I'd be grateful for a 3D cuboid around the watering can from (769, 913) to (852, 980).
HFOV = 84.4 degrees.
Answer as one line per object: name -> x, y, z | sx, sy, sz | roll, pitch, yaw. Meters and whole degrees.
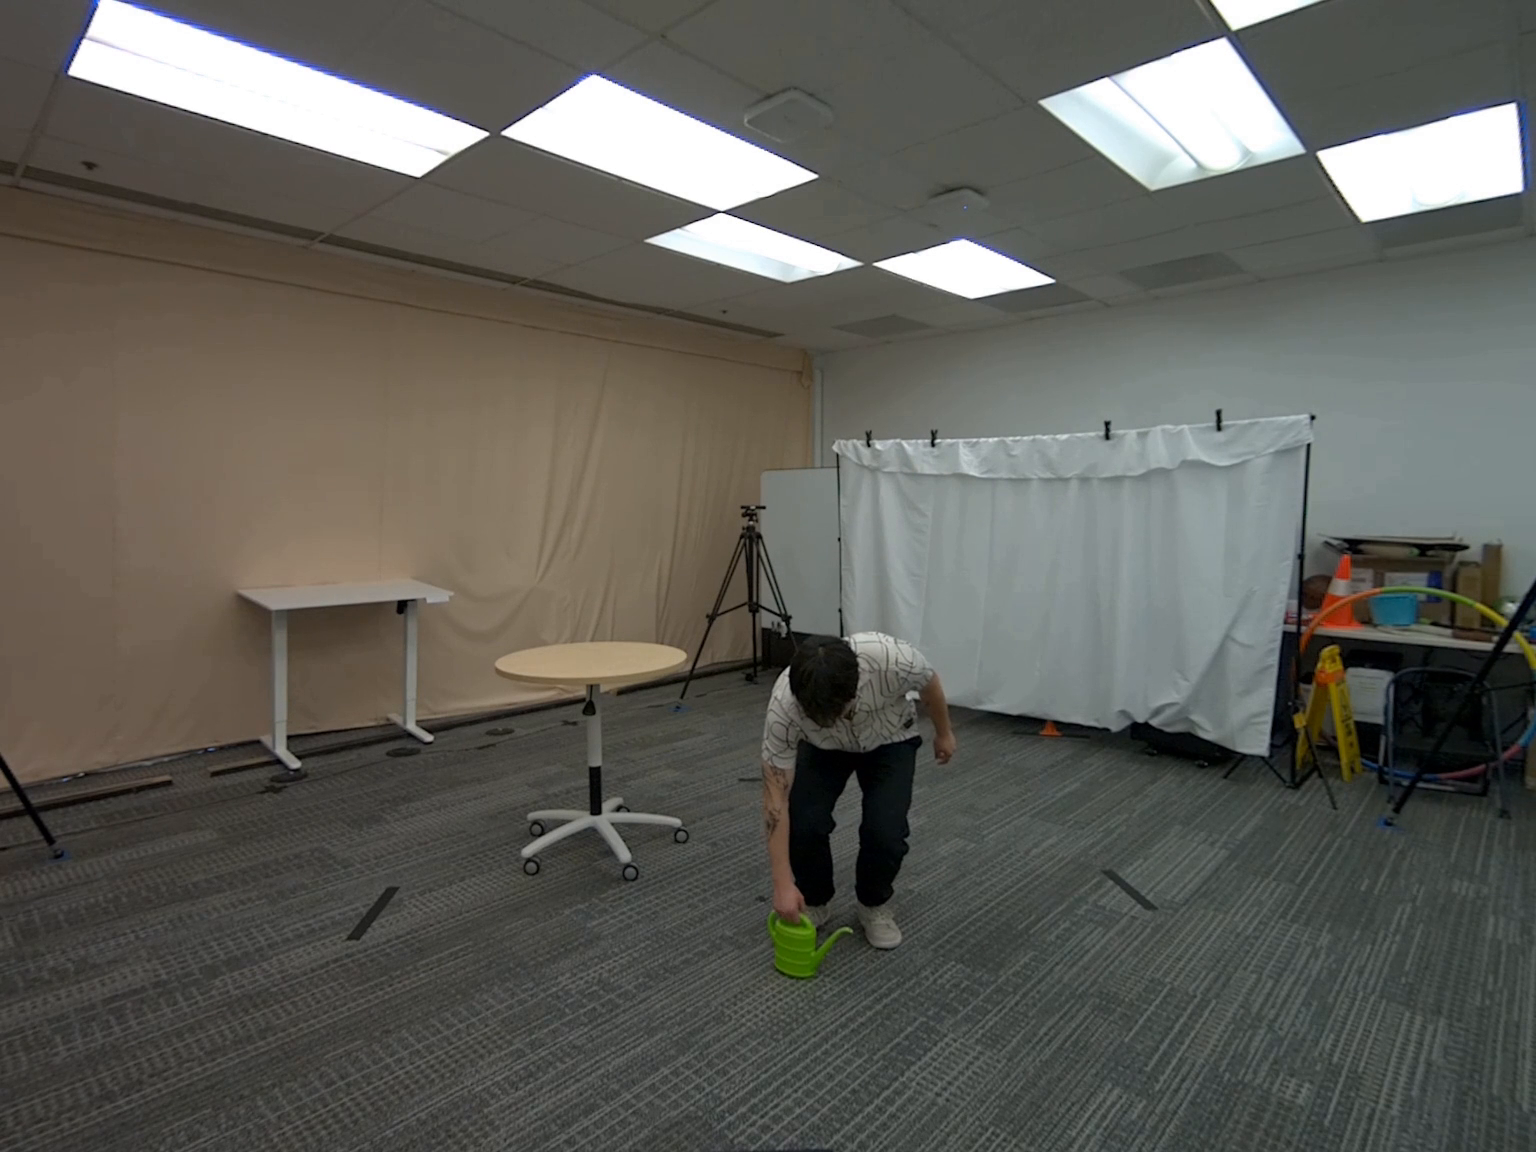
watering can -> 0.118, 1.081, 2.494 | 0.095, 0.176, 0.287 | 0, 5, -38
